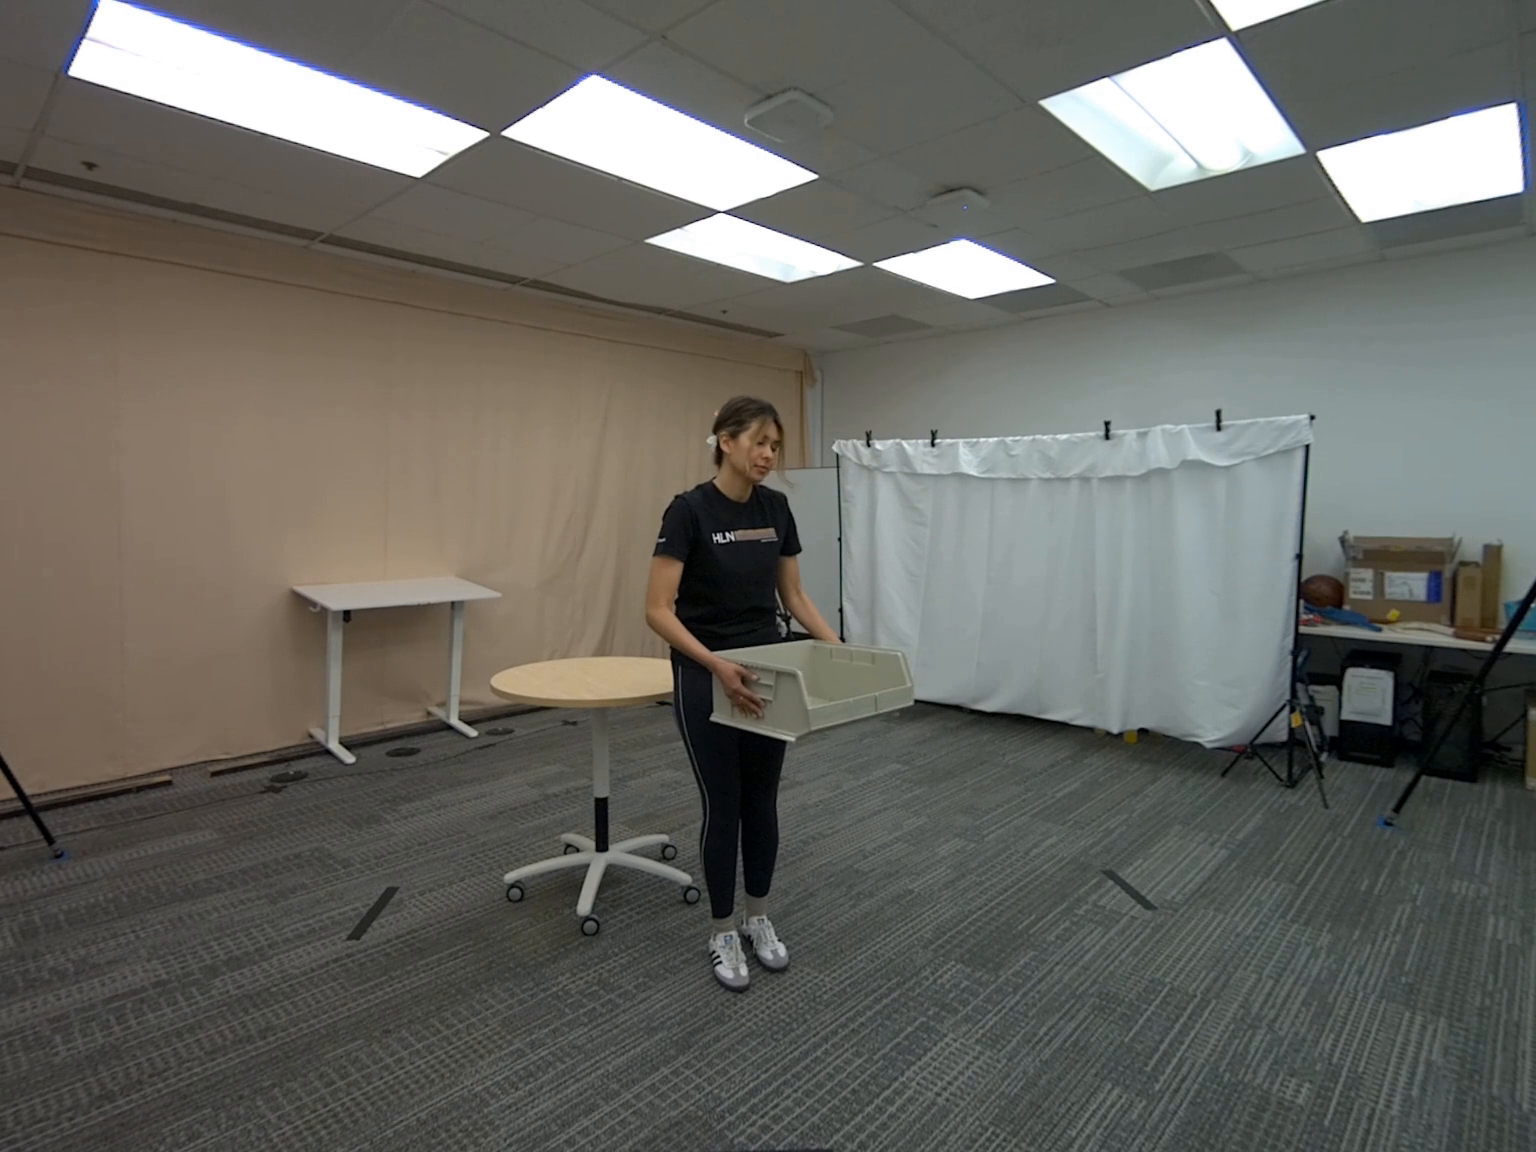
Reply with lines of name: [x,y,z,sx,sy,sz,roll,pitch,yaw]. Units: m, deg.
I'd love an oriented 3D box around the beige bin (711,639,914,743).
beige bin: [0.123,0.301,2.244,0.409,0.189,0.389,-3,3,-43]
